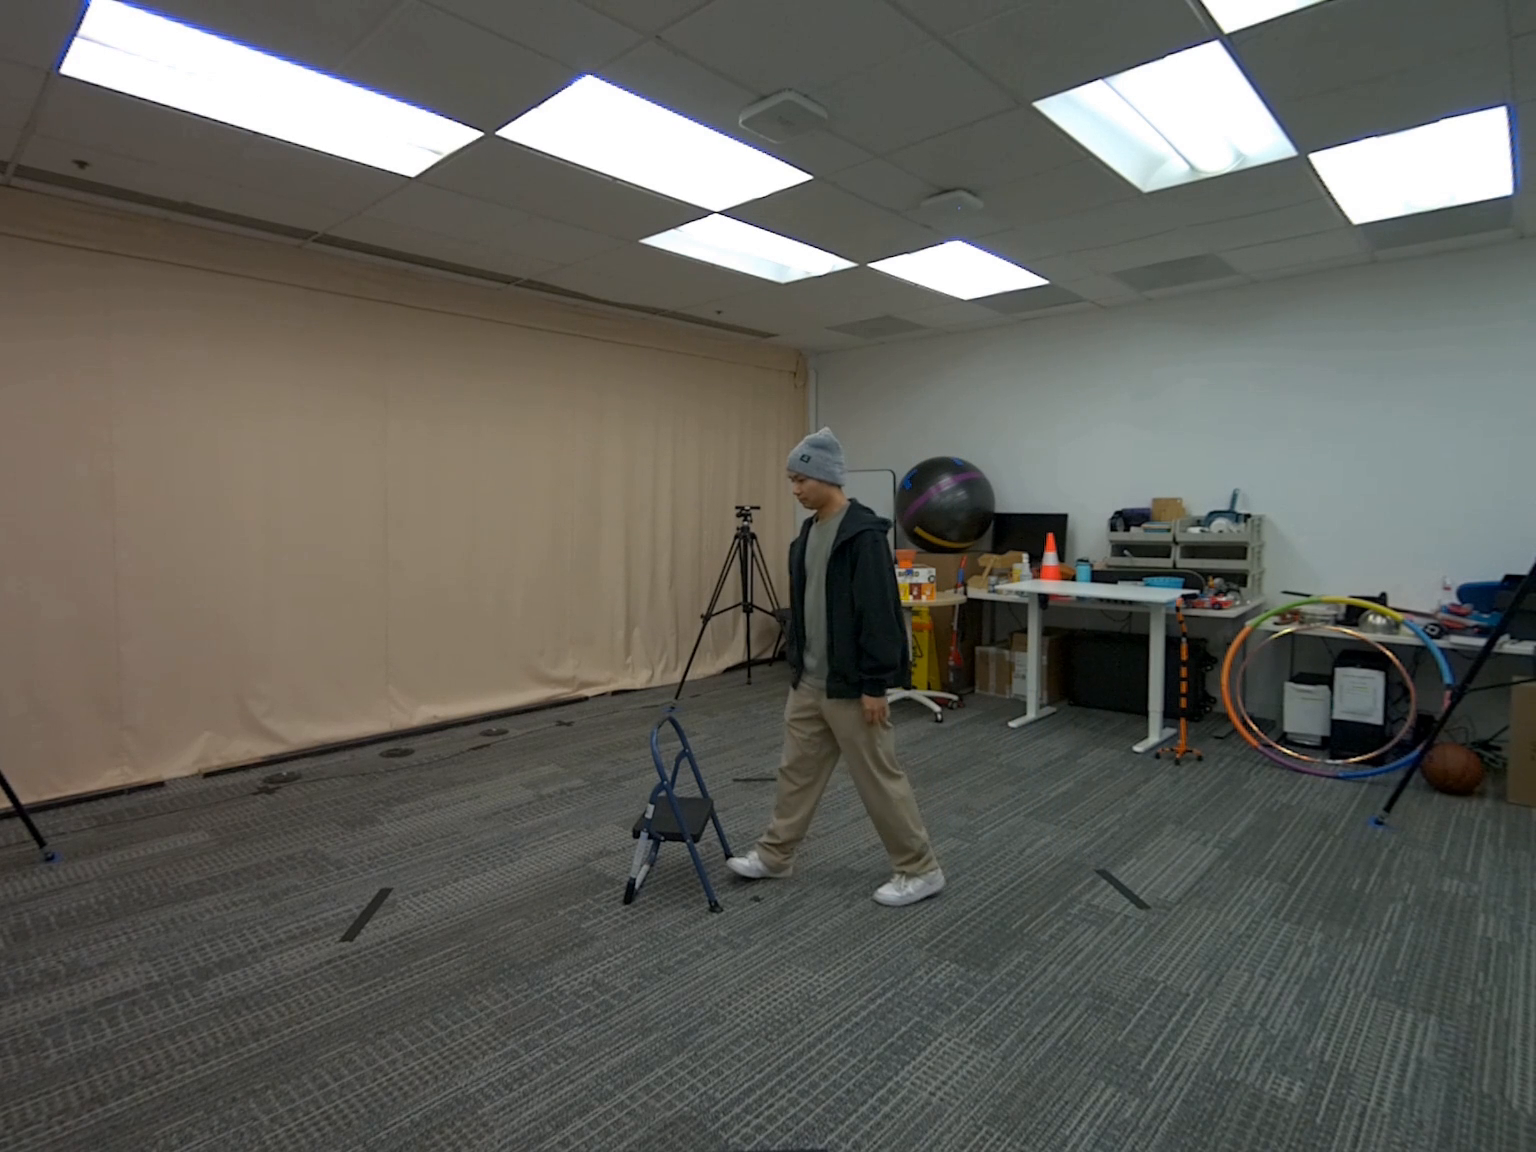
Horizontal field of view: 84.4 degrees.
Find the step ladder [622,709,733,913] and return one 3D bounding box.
[{"bbox_3d":[-0.318,0.837,3.109,0.352,0.604,0.428,1,4,7],"label":"step ladder"}]
